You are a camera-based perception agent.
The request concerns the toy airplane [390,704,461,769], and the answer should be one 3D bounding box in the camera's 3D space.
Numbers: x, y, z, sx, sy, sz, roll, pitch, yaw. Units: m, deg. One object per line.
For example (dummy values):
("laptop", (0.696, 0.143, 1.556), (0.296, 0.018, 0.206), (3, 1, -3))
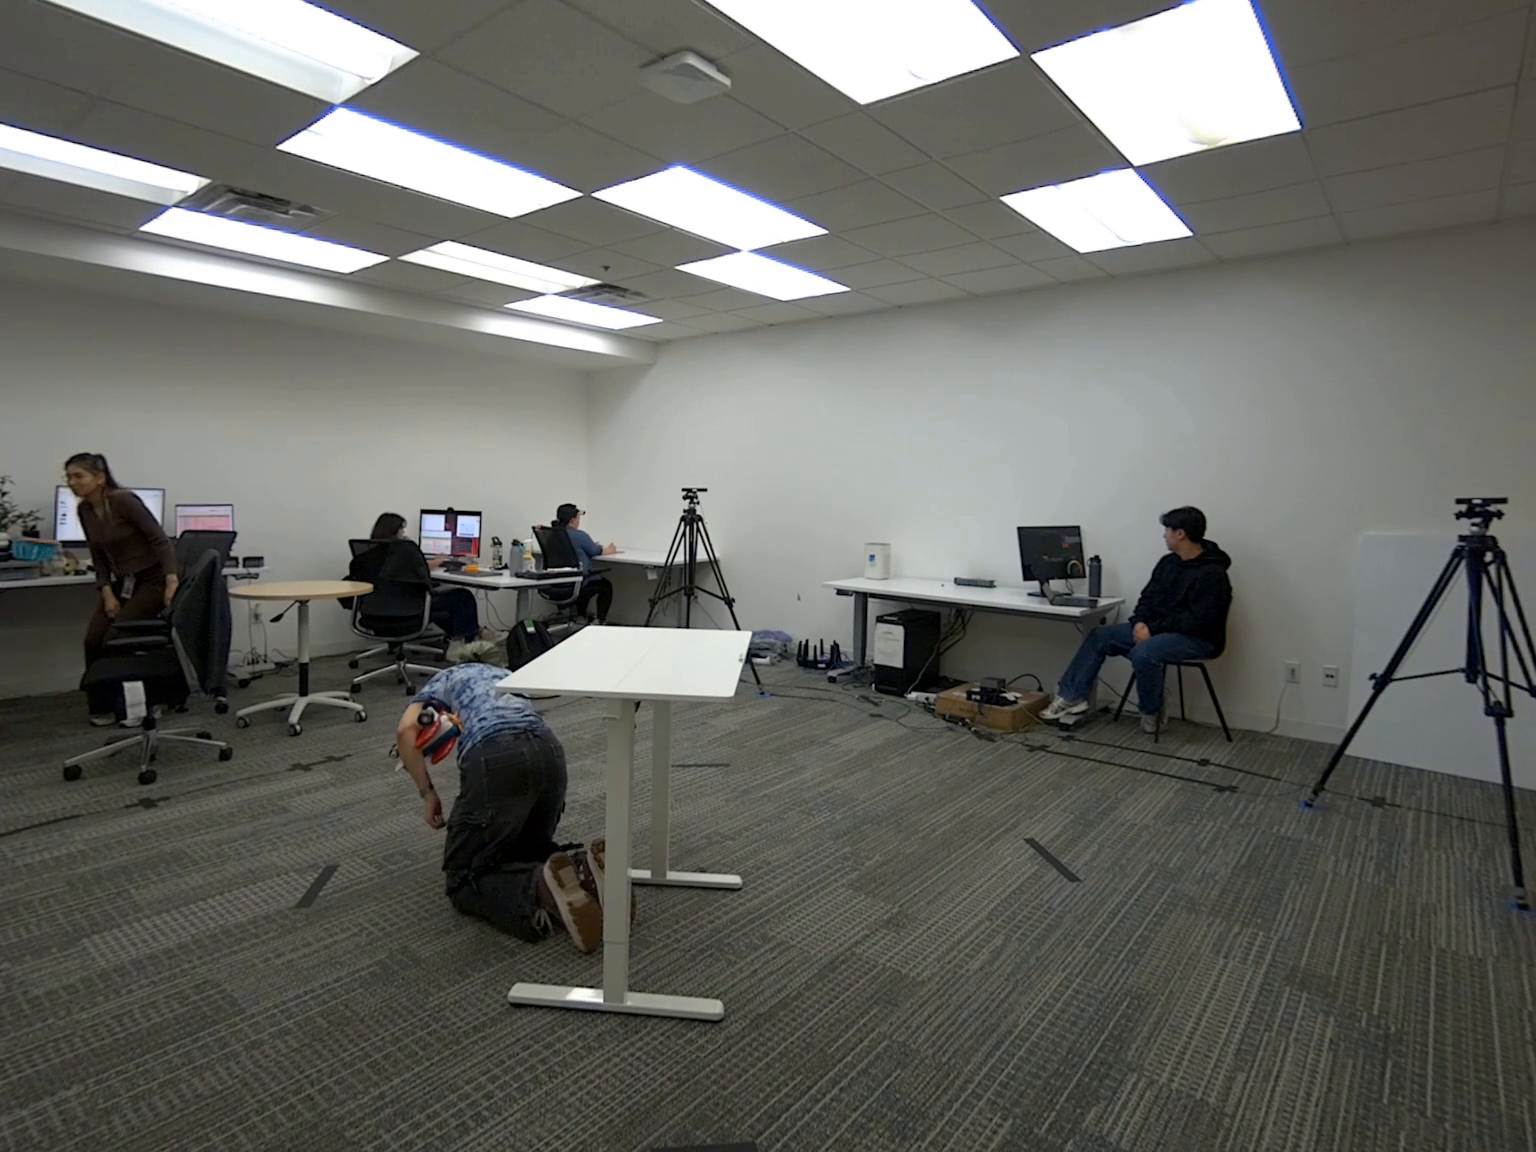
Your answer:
("toy airplane", (-1.190, 0.553, 2.927), (0.153, 0.260, 0.256), (38, 33, -17))
